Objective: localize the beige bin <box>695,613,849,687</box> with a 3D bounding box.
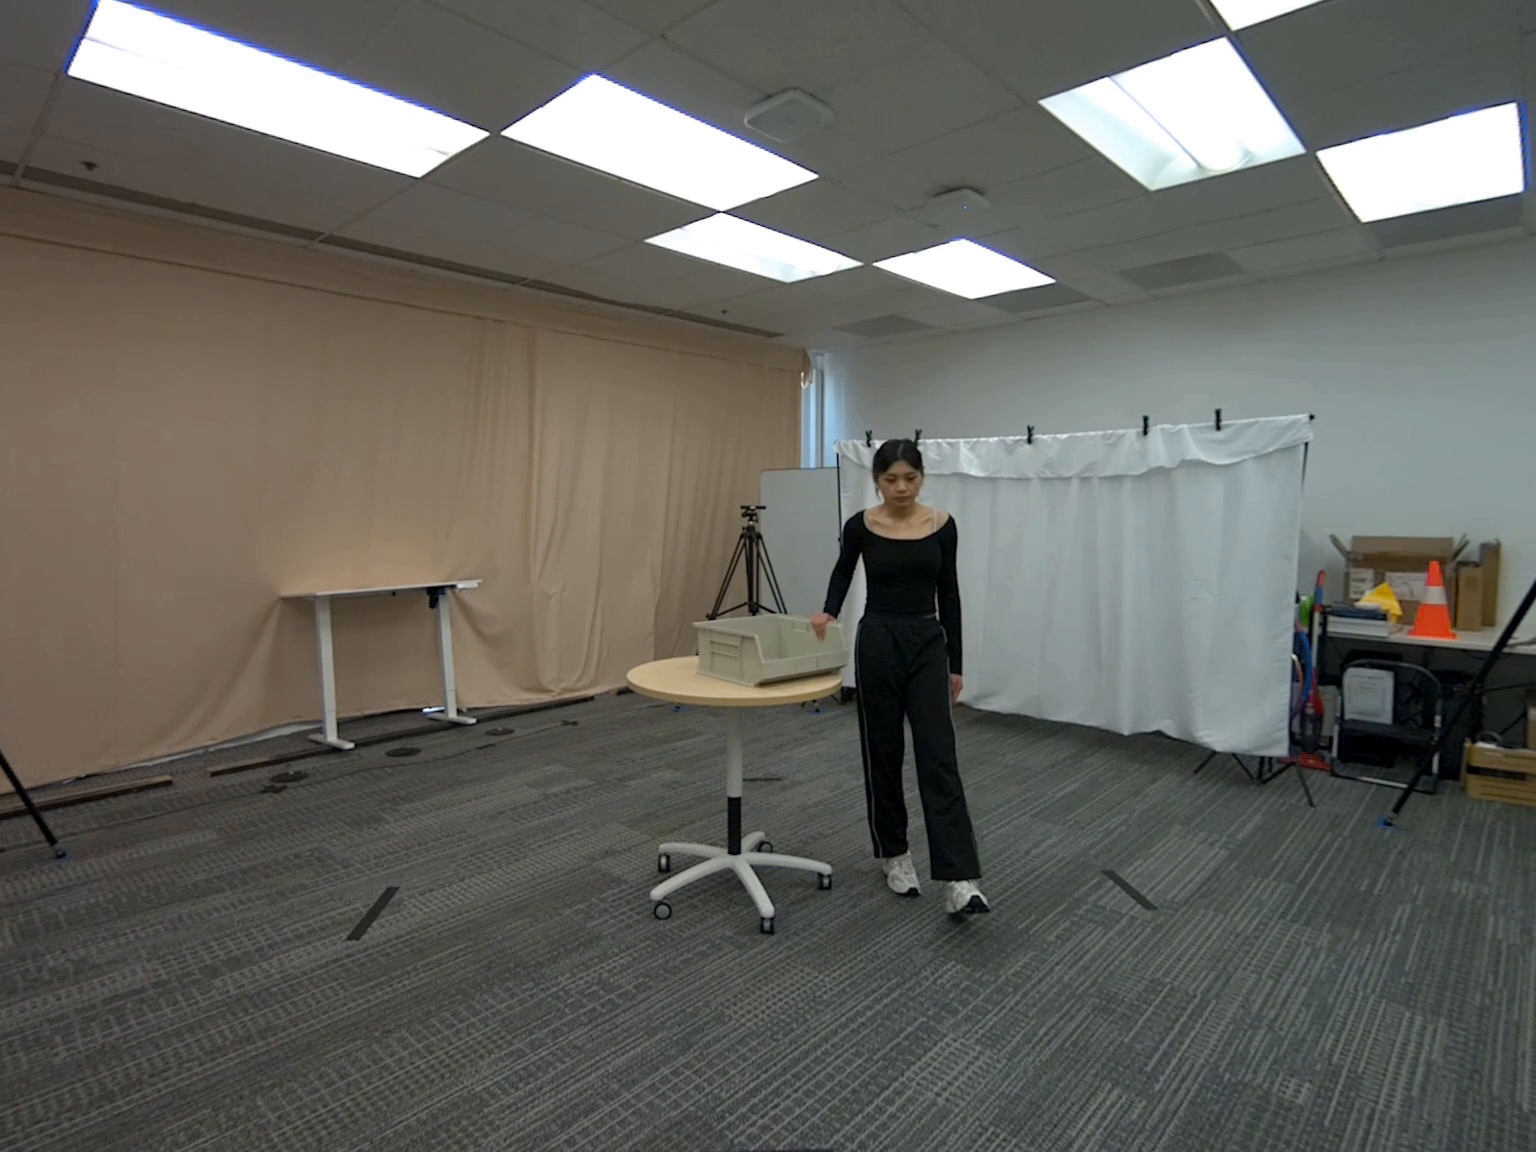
[{"bbox_3d":[0.014,0.261,3.007,0.409,0.188,0.389,-4,4,-40],"label":"beige bin"}]
